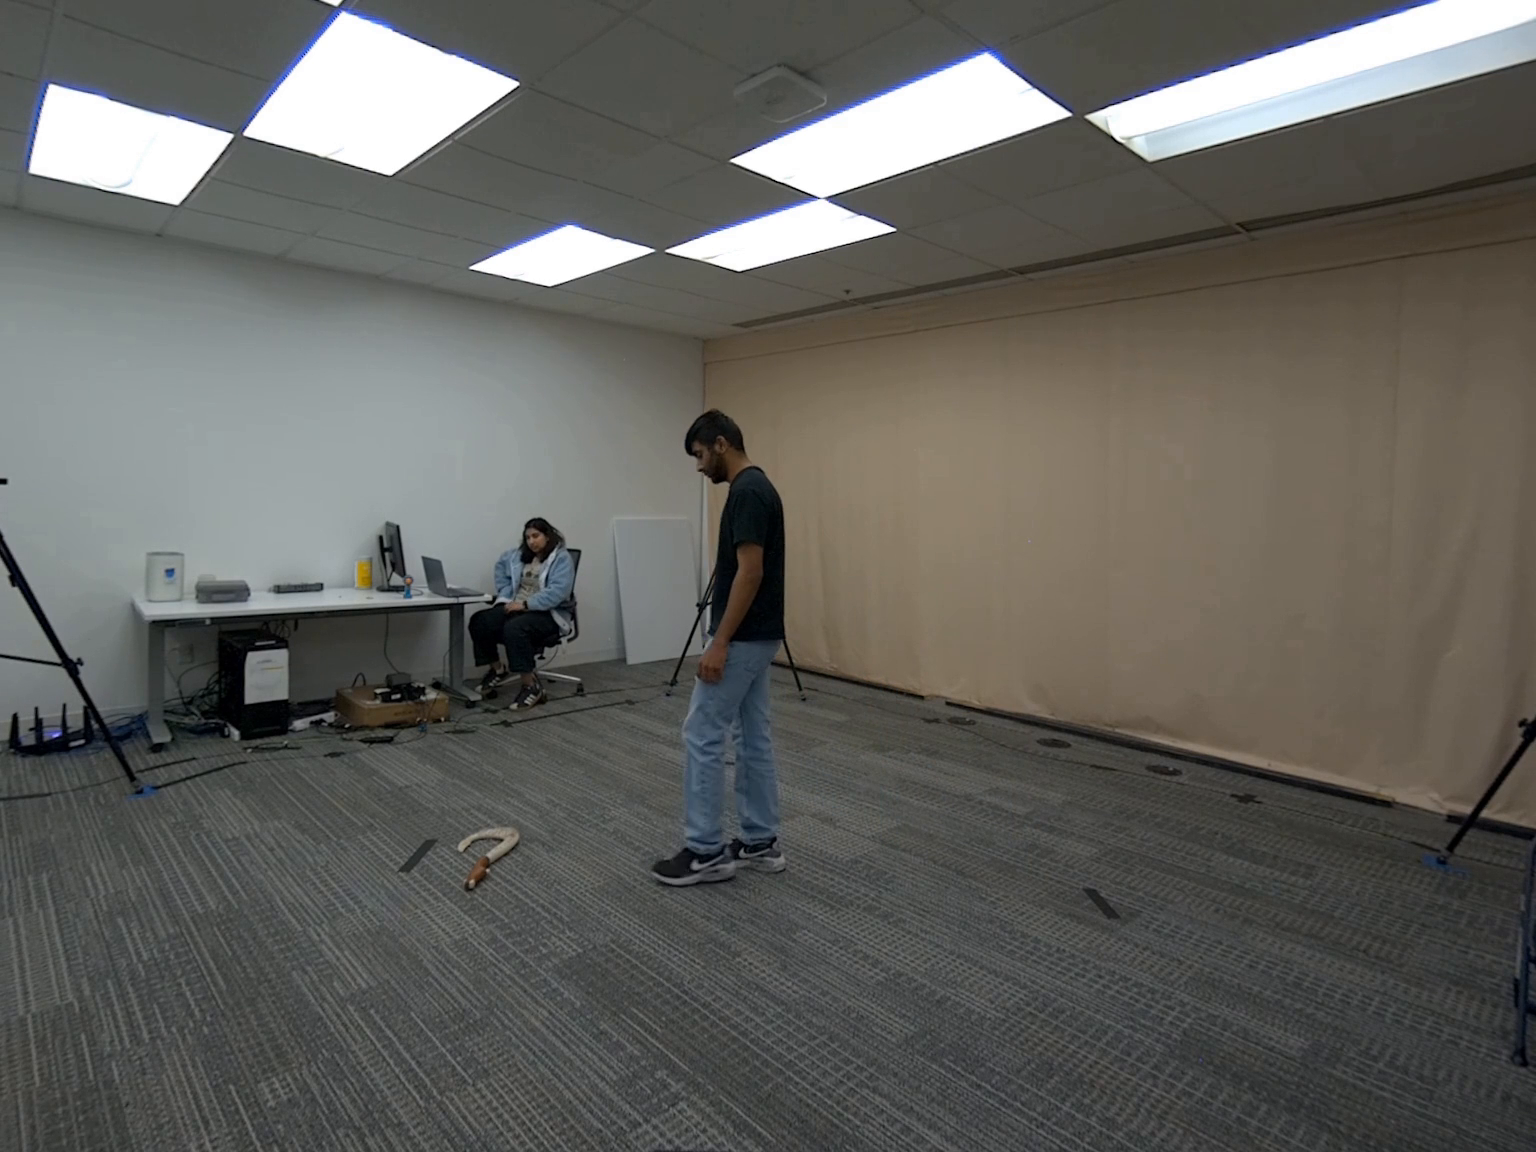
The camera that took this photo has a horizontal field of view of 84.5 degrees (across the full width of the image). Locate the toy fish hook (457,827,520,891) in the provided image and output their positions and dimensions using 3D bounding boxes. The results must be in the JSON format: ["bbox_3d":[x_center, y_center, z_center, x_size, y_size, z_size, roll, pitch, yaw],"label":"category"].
[{"bbox_3d":[-1.106,1.062,3.174,0.225,0.048,0.508,-5,5,0],"label":"toy fish hook"}]
